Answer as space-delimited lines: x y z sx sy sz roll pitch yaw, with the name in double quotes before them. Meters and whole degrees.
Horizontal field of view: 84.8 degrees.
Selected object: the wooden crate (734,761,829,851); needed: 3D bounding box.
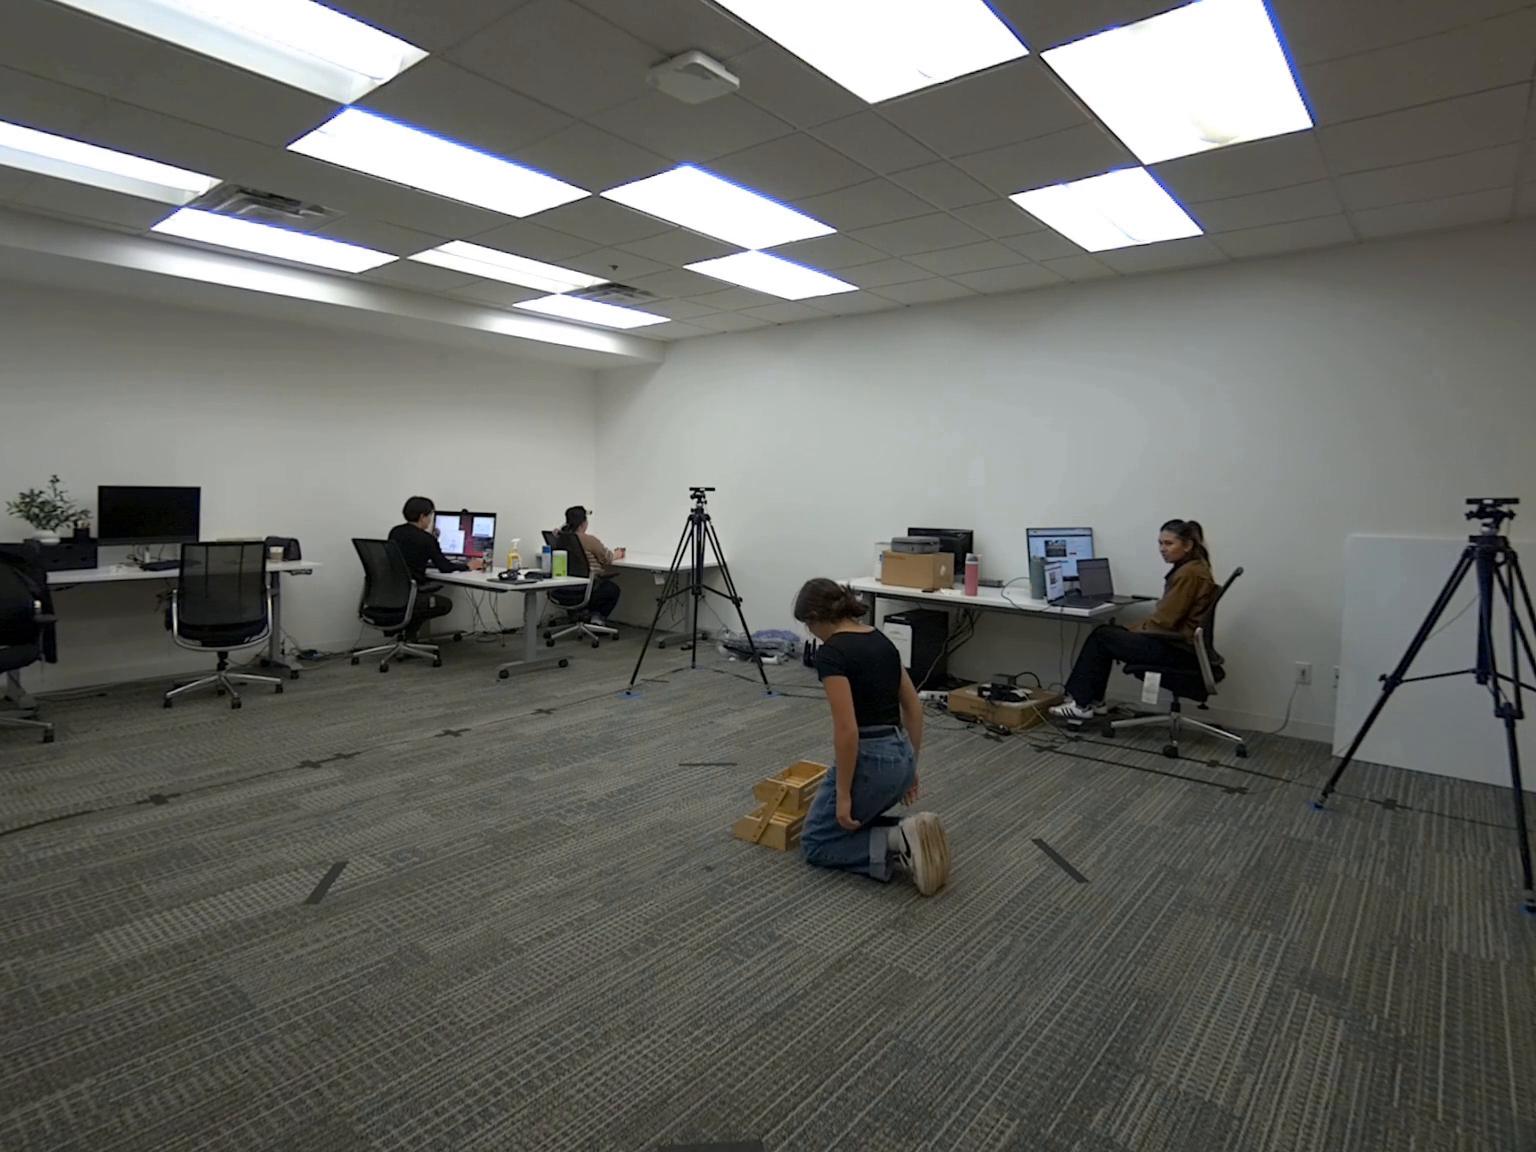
"wooden crate" 0.049 0.905 3.450 0.311 0.272 0.316 5 6 31
